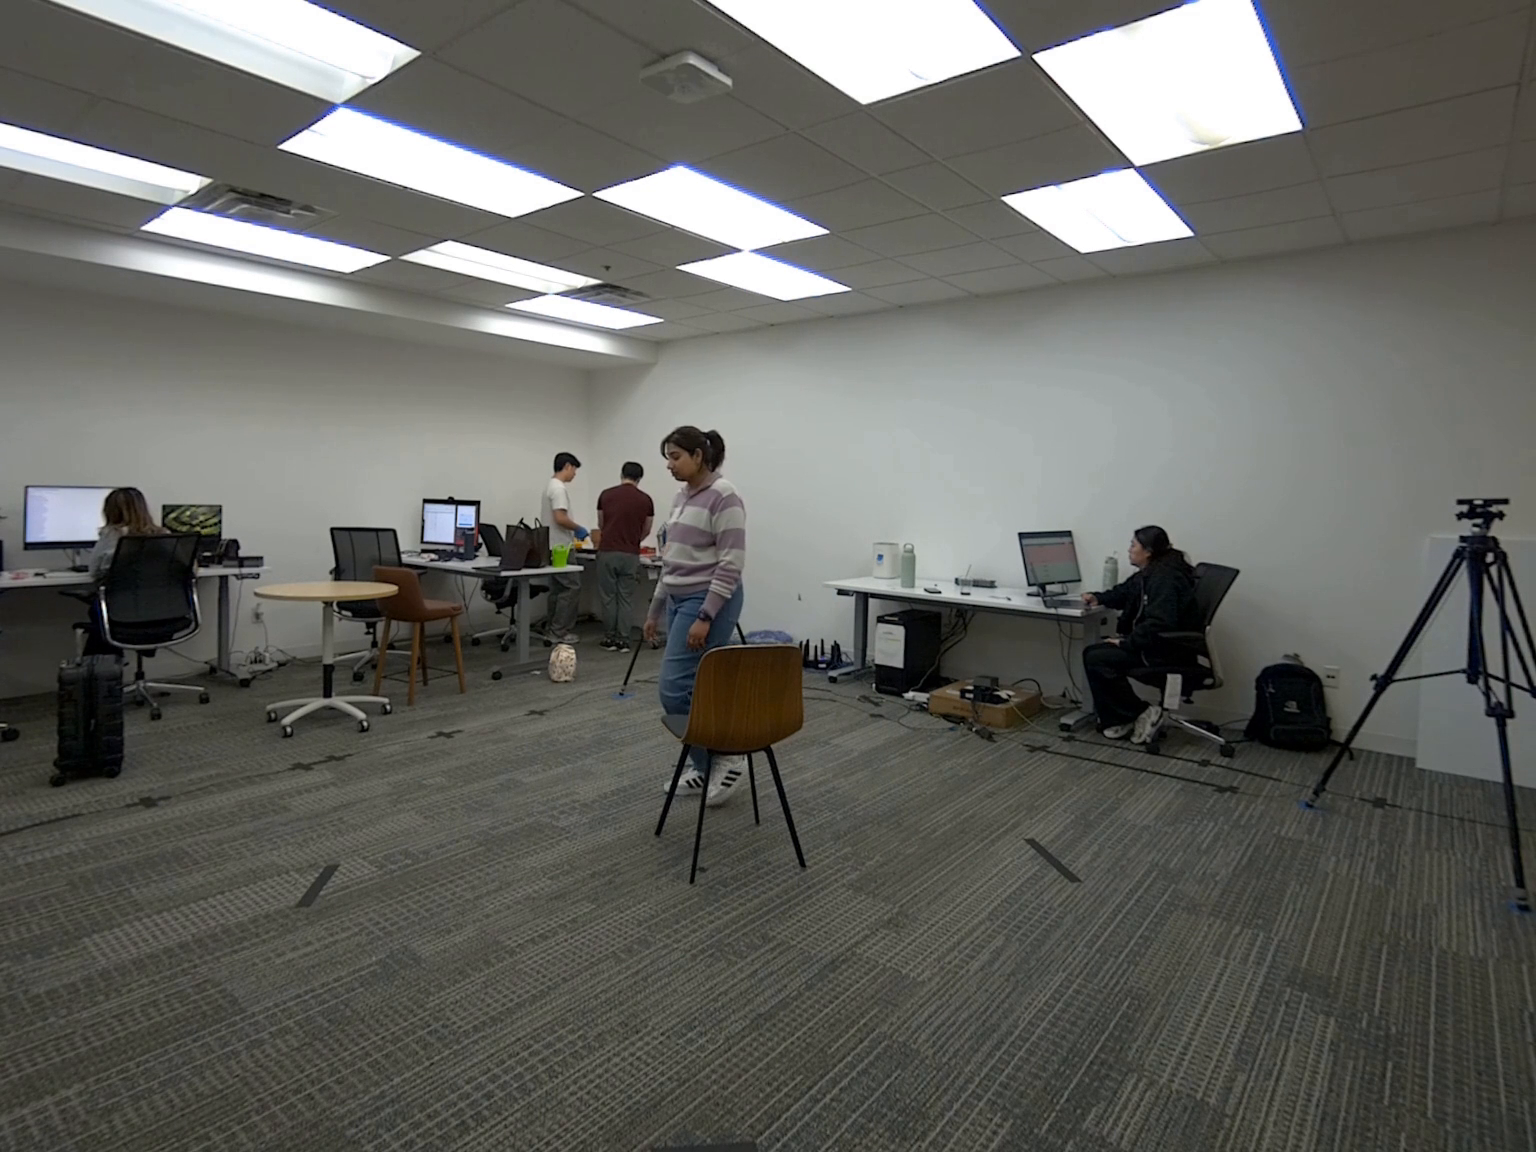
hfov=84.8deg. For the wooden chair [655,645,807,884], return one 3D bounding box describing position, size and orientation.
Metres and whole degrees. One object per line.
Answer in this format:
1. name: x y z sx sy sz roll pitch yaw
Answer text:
1. wooden chair: -0.159 0.627 3.255 0.468 0.872 0.538 -1 8 -22
